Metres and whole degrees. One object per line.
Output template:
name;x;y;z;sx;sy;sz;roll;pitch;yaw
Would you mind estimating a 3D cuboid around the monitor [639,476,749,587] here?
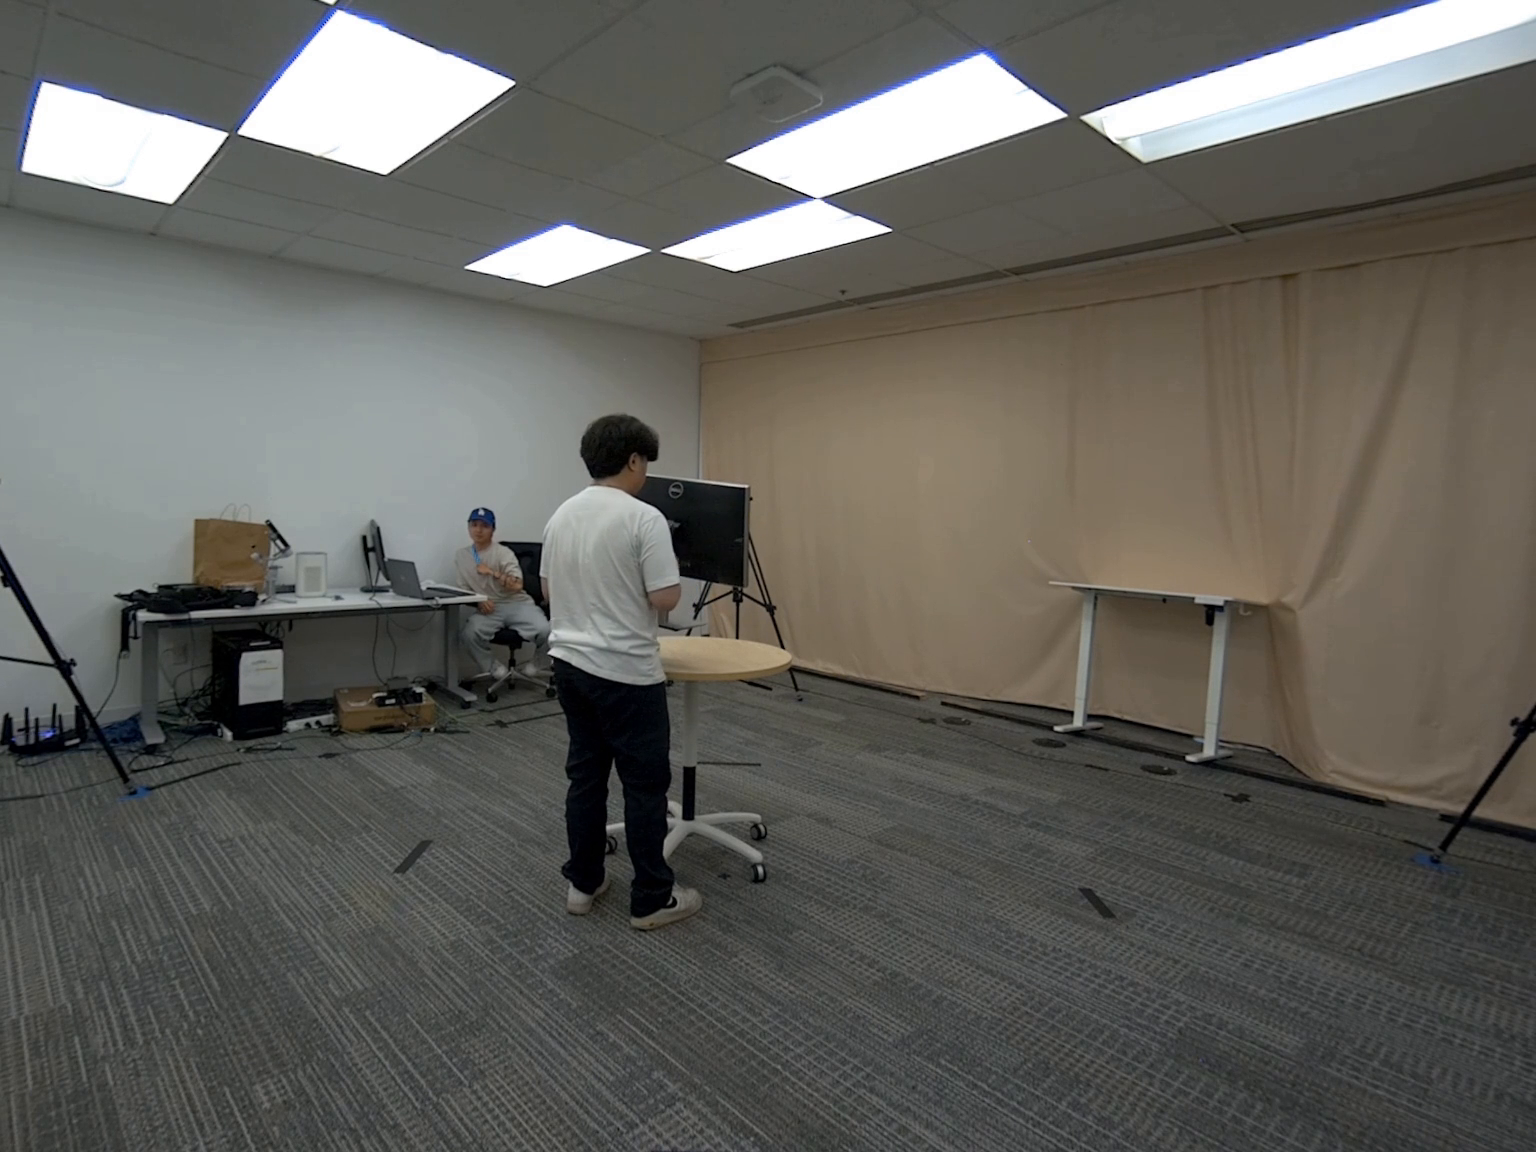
monitor;-0.360;-0.079;2.996;0.579;0.551;0.206;11;10;30
